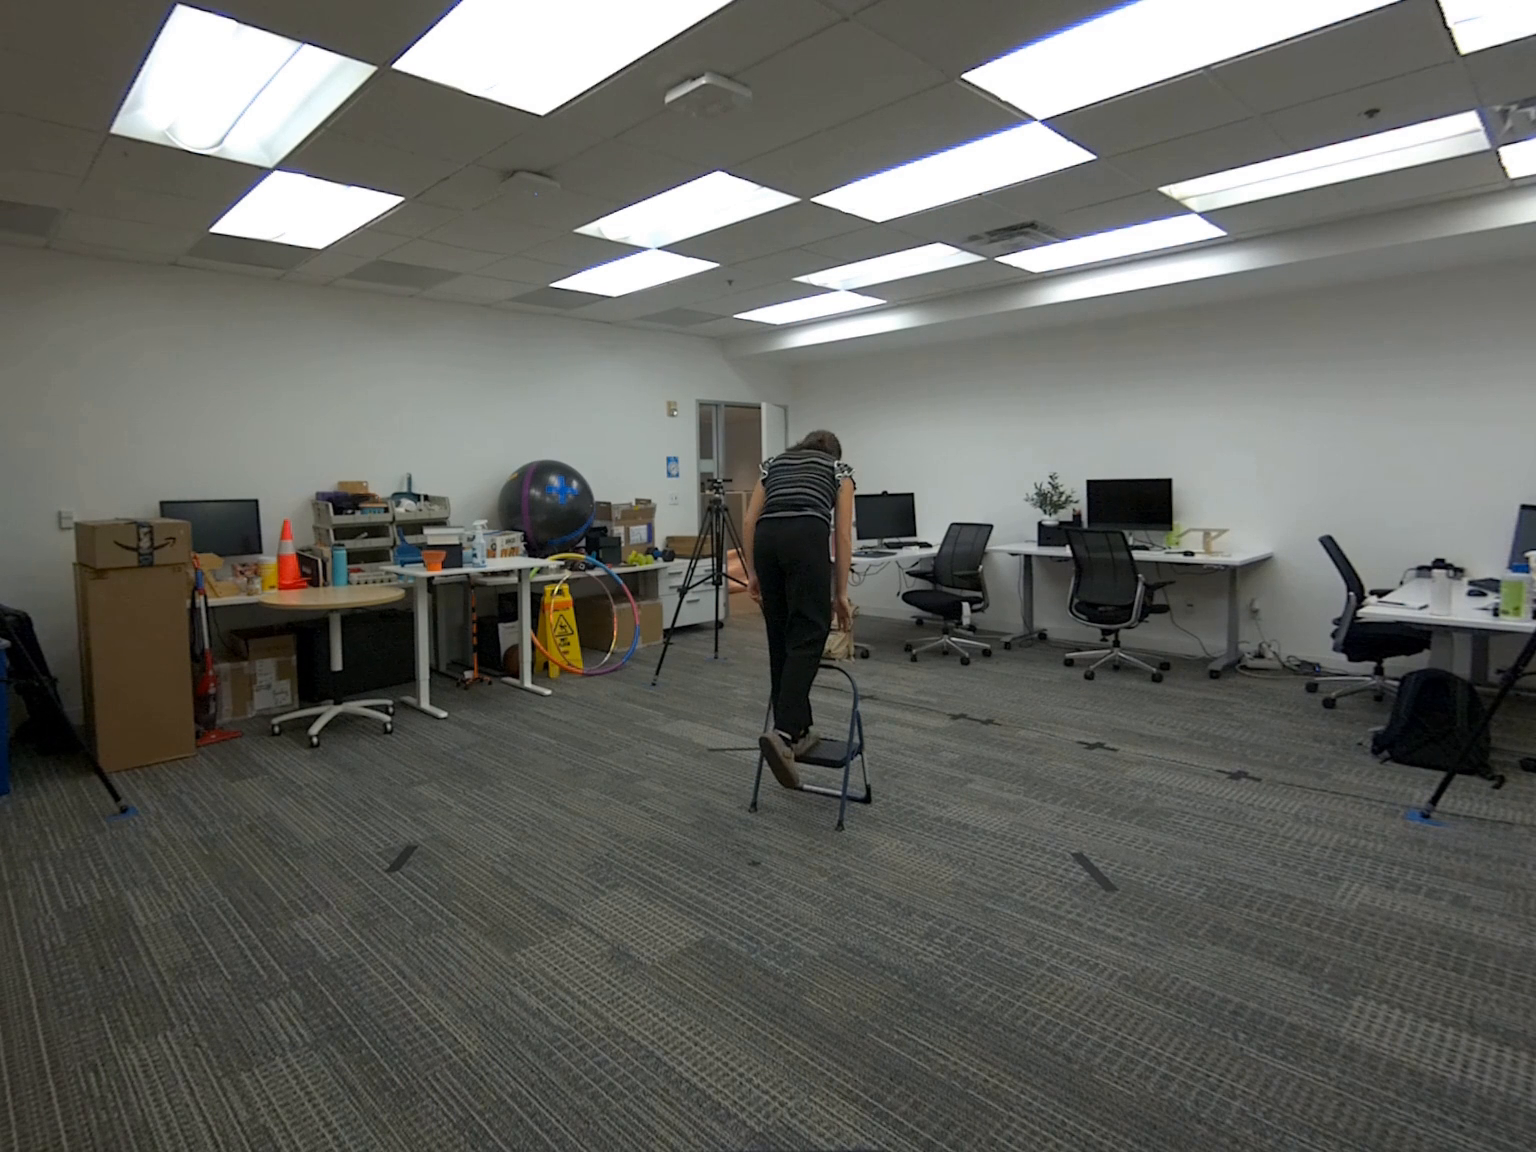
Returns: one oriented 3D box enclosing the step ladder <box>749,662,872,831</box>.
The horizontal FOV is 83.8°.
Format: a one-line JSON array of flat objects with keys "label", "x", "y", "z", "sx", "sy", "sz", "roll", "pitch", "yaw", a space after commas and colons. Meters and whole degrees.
[{"label": "step ladder", "x": 0.186, "y": 0.683, "z": 3.616, "sx": 0.442, "sy": 0.604, "sz": 0.341, "roll": 2, "pitch": 5, "yaw": 30}]
